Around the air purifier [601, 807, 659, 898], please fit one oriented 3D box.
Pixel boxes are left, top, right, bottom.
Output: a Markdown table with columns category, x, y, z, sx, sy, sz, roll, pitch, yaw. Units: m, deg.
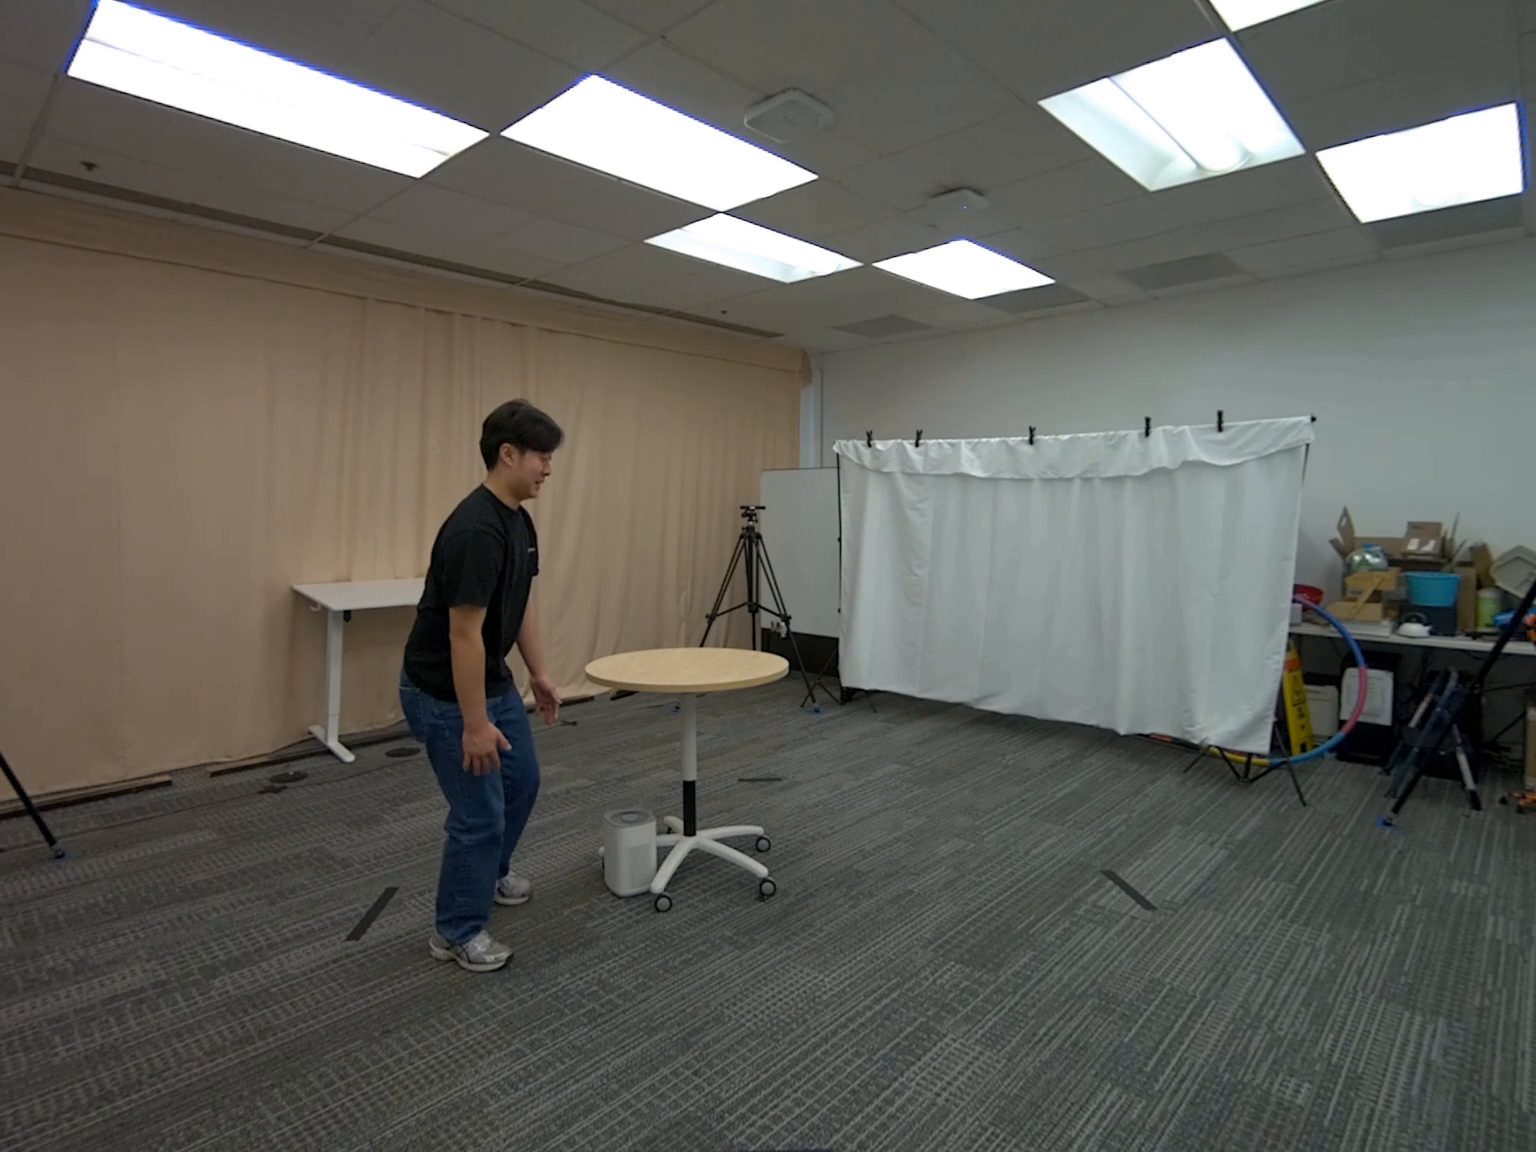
| category | x | y | z | sx | sy | sz | roll | pitch | yaw |
| --- | --- | --- | --- | --- | --- | --- | --- | --- | --- |
| air purifier | -0.508 | 1.011 | 3.059 | 0.166 | 0.265 | 0.176 | 0 | 3 | -36 |
